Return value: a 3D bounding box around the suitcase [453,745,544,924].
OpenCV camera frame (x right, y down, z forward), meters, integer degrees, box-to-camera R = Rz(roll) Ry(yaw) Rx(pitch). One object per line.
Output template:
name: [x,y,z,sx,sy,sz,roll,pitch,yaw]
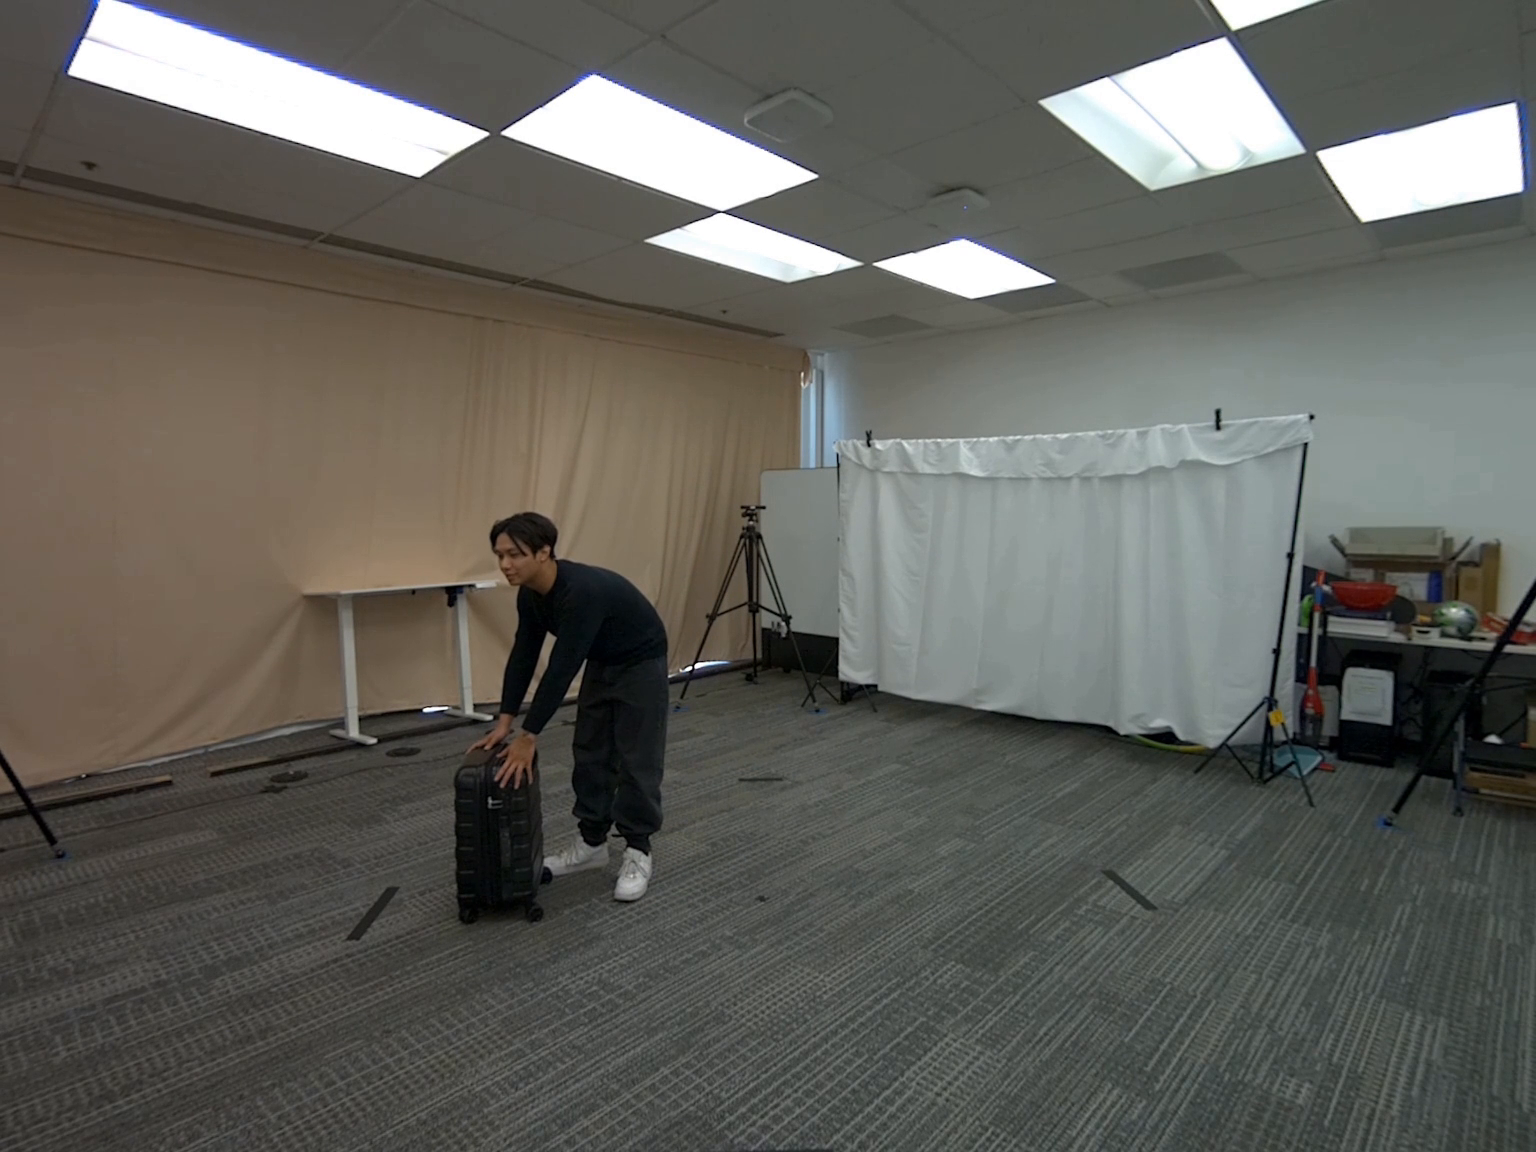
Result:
suitcase: [-0.943,0.877,2.953,0.247,0.548,0.378,-1,3,-6]
